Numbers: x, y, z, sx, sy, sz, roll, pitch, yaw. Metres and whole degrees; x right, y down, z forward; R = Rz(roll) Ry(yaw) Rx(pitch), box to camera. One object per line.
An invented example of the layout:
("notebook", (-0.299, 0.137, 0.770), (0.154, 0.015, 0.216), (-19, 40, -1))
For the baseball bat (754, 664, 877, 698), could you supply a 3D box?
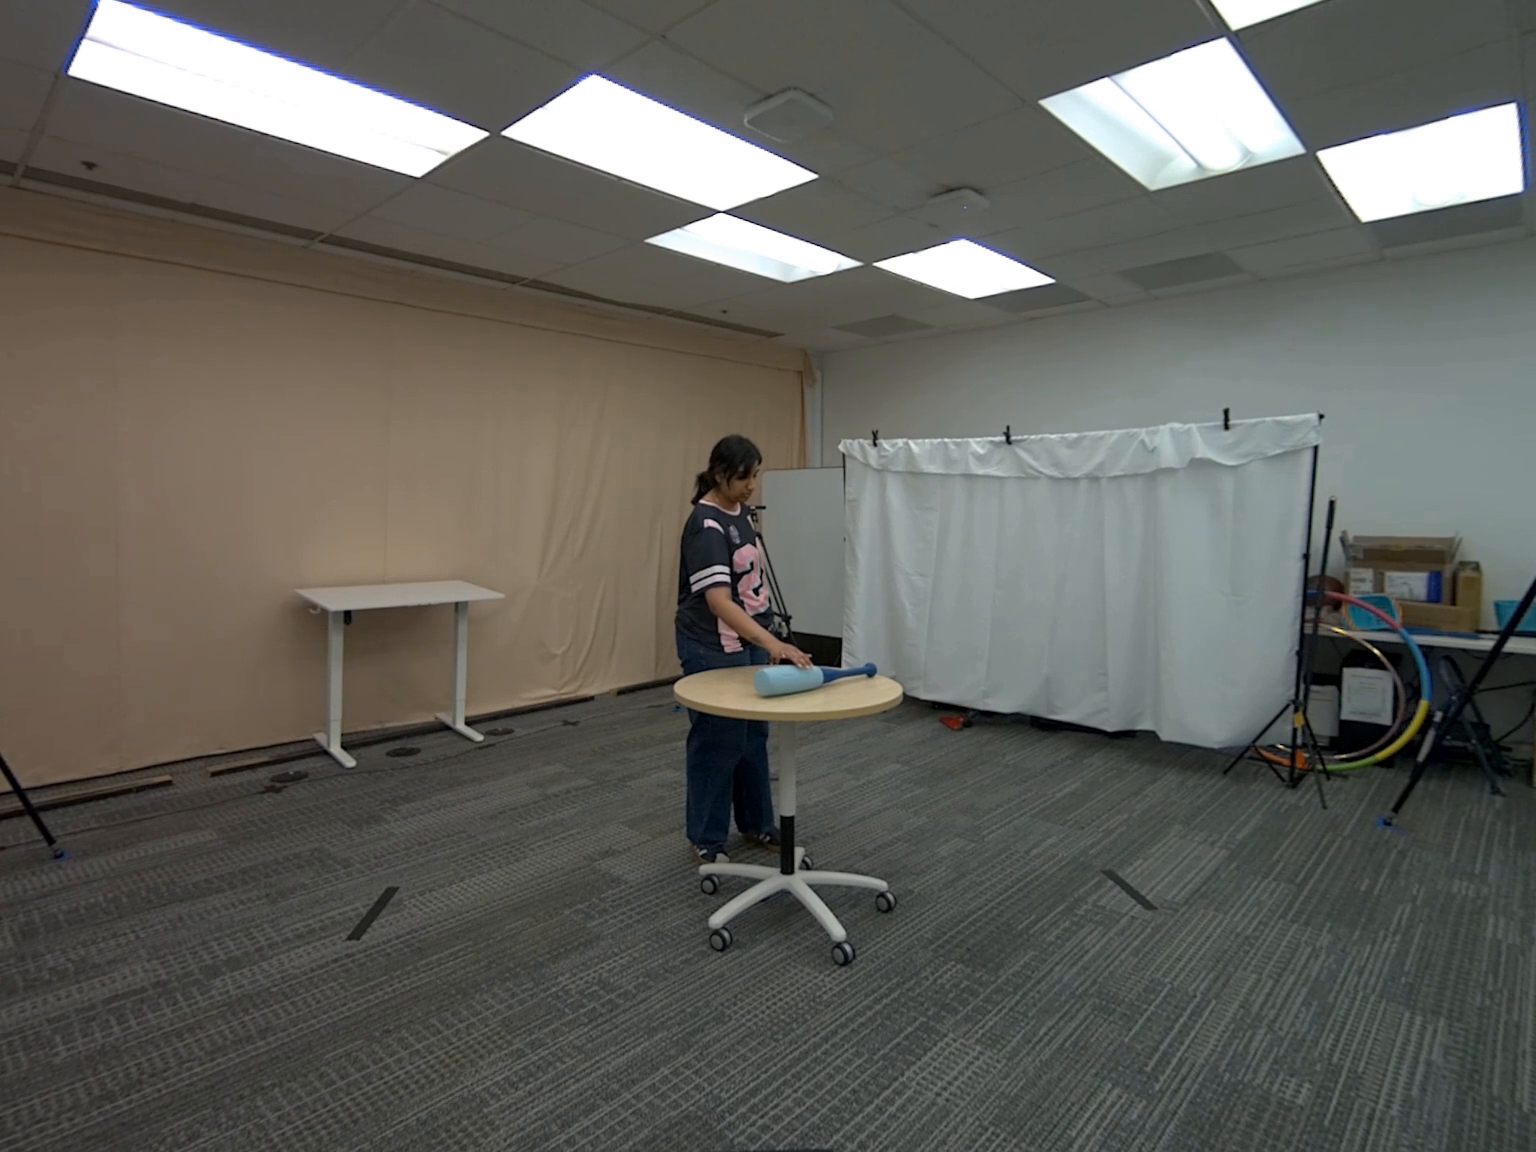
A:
("baseball bat", (0.180, 0.339, 2.809), (0.526, 0.089, 0.092), (1, 2, -38))
